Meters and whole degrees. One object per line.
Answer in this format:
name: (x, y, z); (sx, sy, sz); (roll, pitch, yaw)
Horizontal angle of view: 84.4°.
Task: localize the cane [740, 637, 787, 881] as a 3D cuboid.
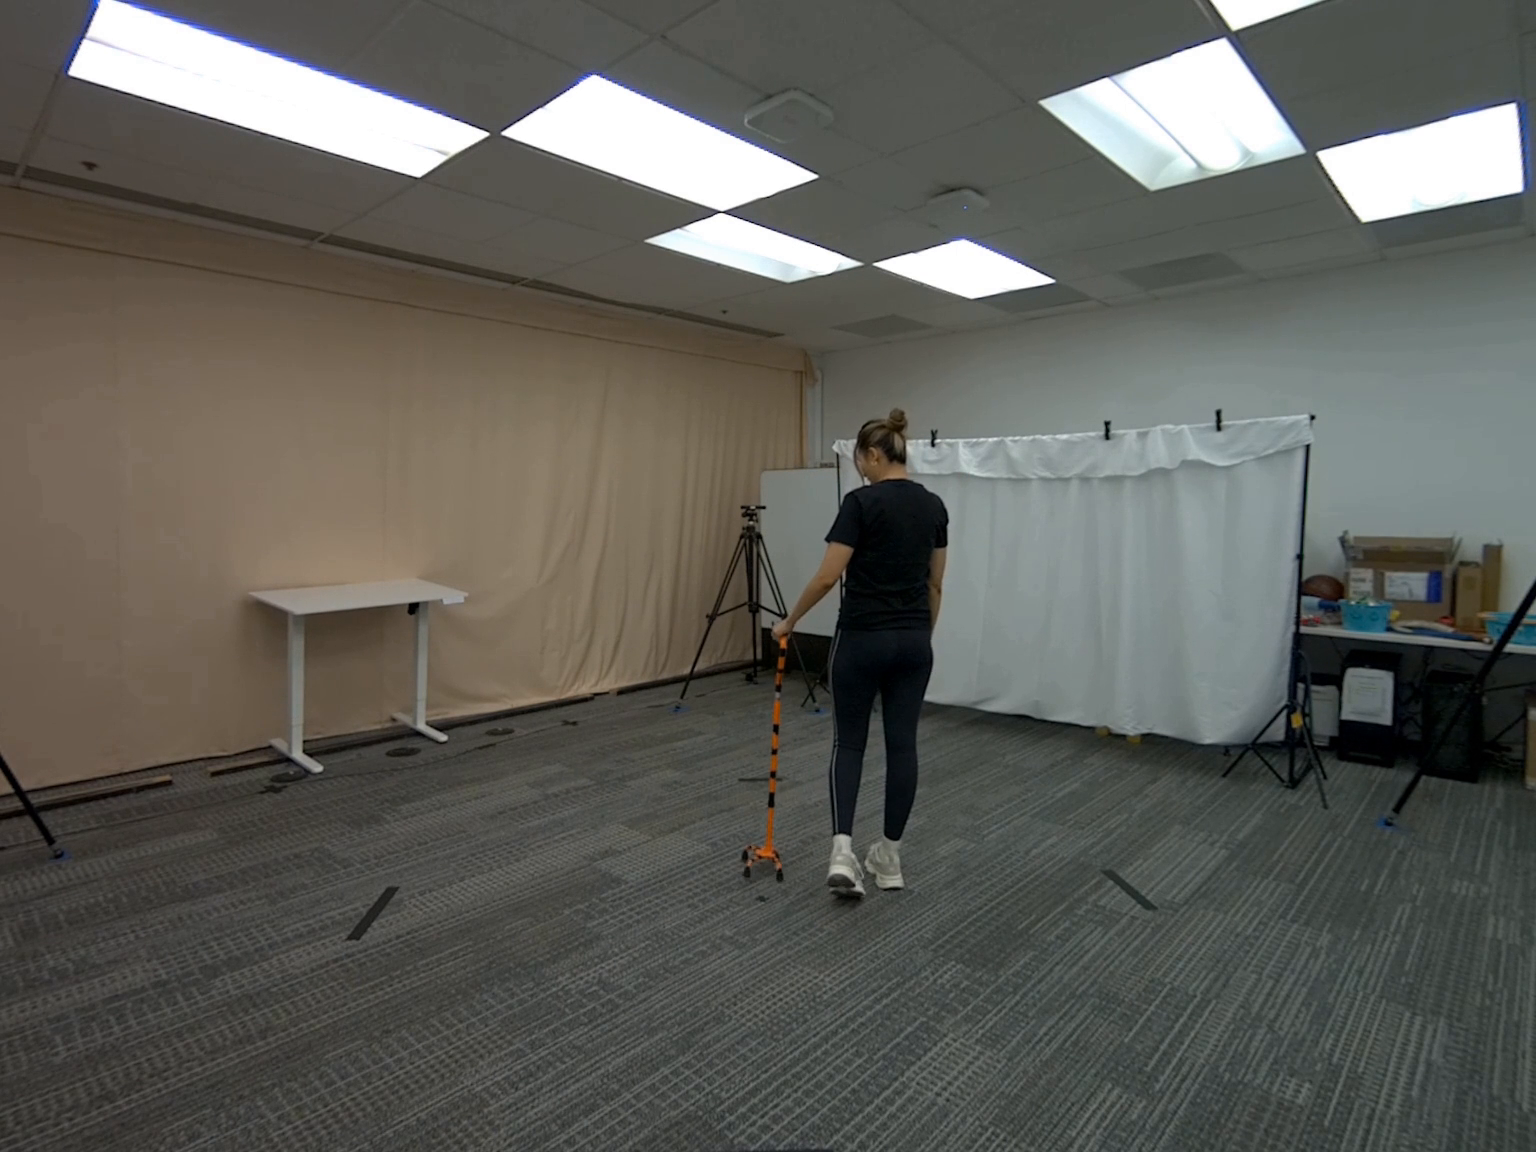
cane: (0.011, 0.661, 3.211); (0.151, 0.907, 0.207); (3, 1, -1)
